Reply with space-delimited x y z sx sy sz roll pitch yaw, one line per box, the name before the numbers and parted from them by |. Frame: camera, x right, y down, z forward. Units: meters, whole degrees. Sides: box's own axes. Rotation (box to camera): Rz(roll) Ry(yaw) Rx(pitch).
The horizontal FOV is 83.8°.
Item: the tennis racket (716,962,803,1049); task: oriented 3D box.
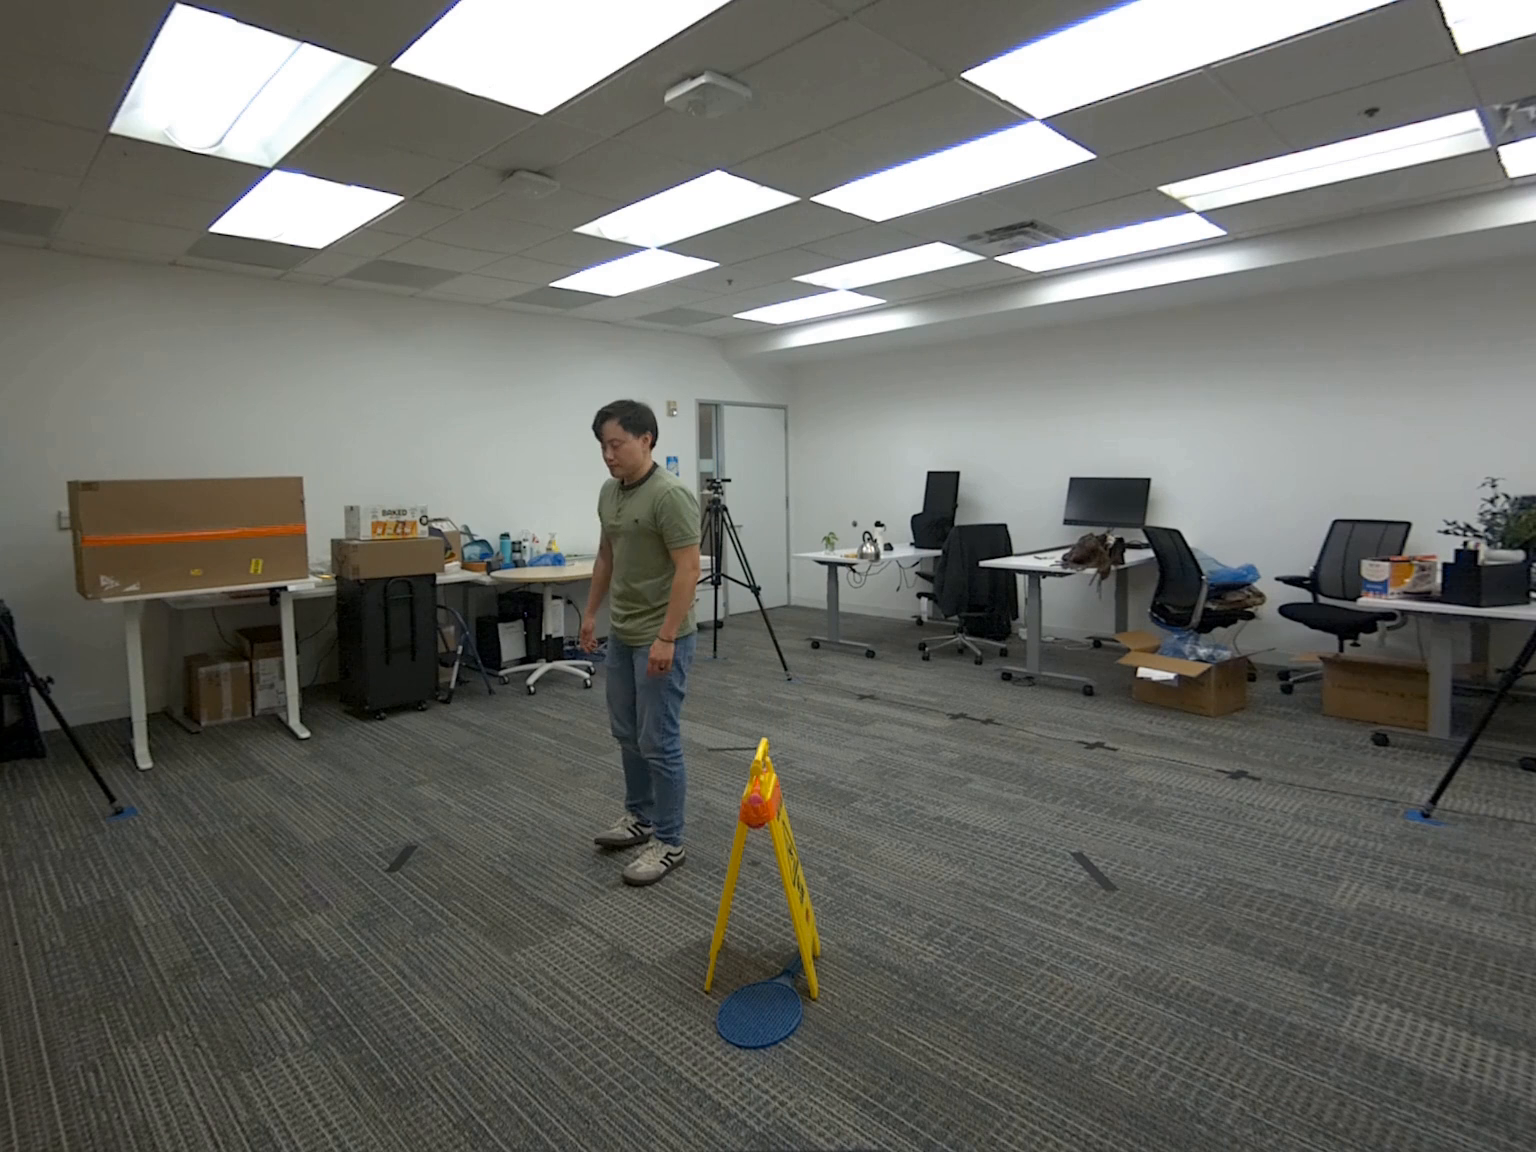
tennis racket | -0.047 1.149 2.163 0.220 0.031 0.423 2 8 36
